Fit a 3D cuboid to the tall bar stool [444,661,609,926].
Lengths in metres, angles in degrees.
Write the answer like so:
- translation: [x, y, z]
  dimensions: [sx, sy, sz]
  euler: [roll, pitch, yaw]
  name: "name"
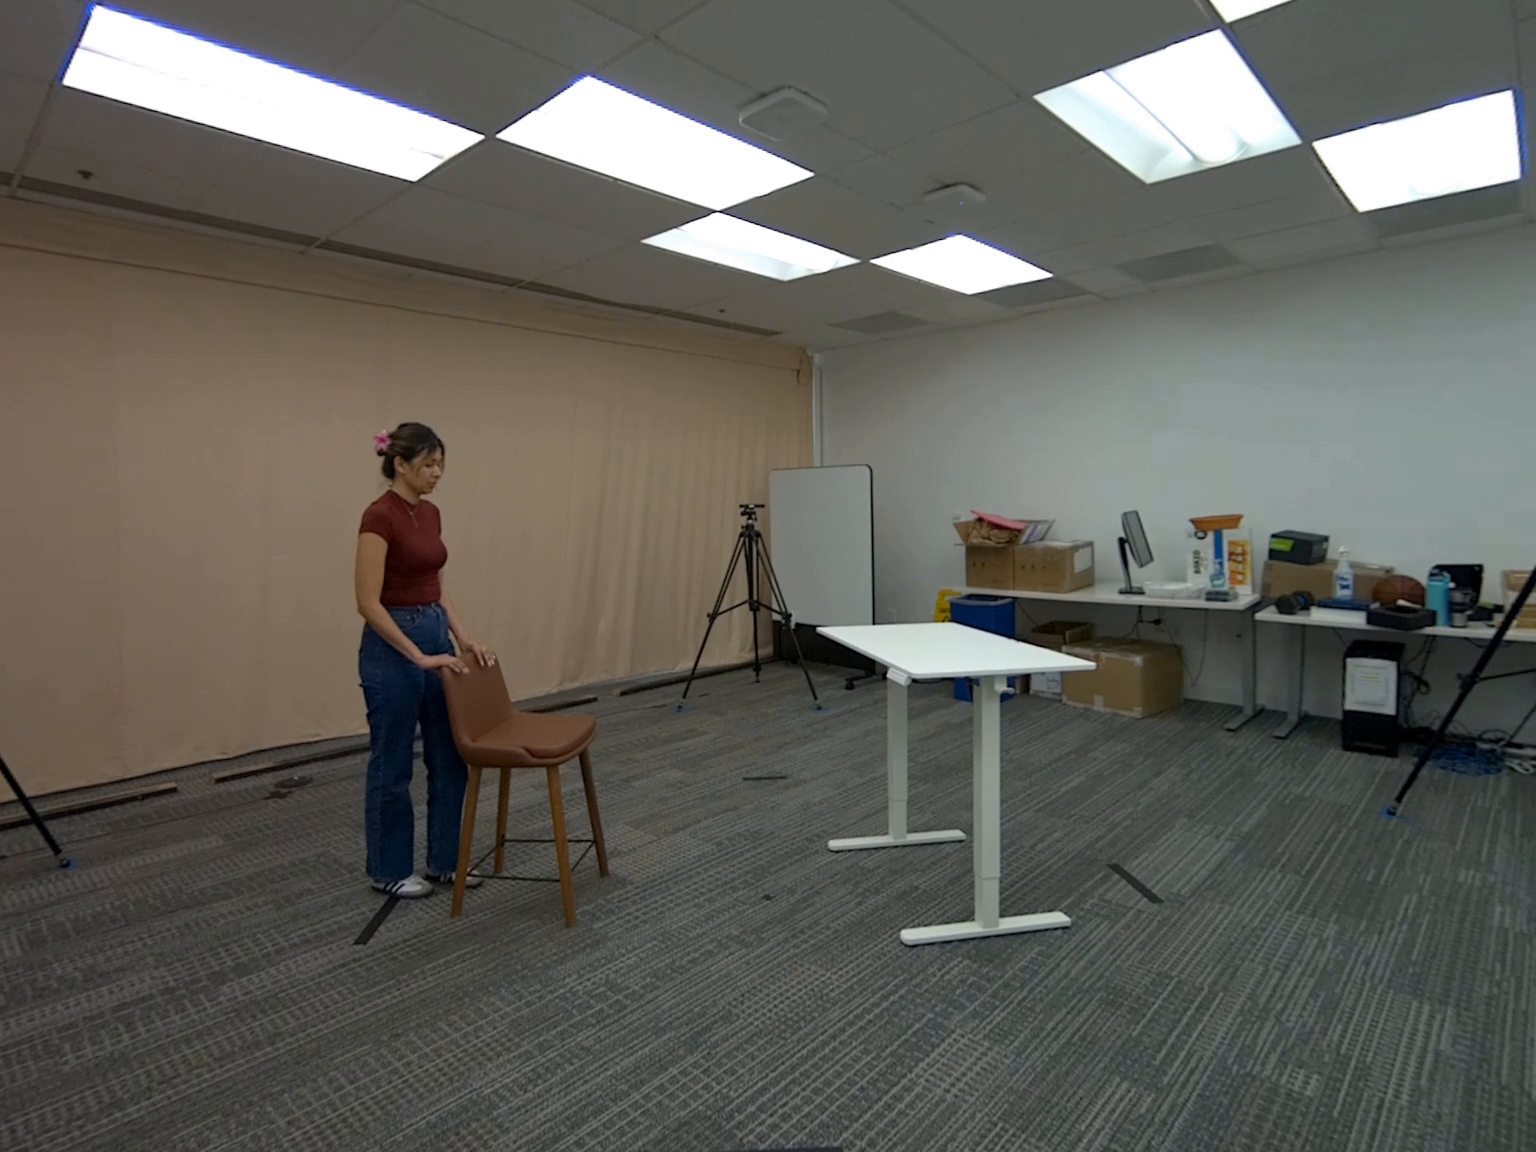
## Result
- translation: [-0.868, 0.726, 3.011]
  dimensions: [0.472, 0.888, 0.453]
  euler: [-3, 3, 8]
  name: "tall bar stool"
